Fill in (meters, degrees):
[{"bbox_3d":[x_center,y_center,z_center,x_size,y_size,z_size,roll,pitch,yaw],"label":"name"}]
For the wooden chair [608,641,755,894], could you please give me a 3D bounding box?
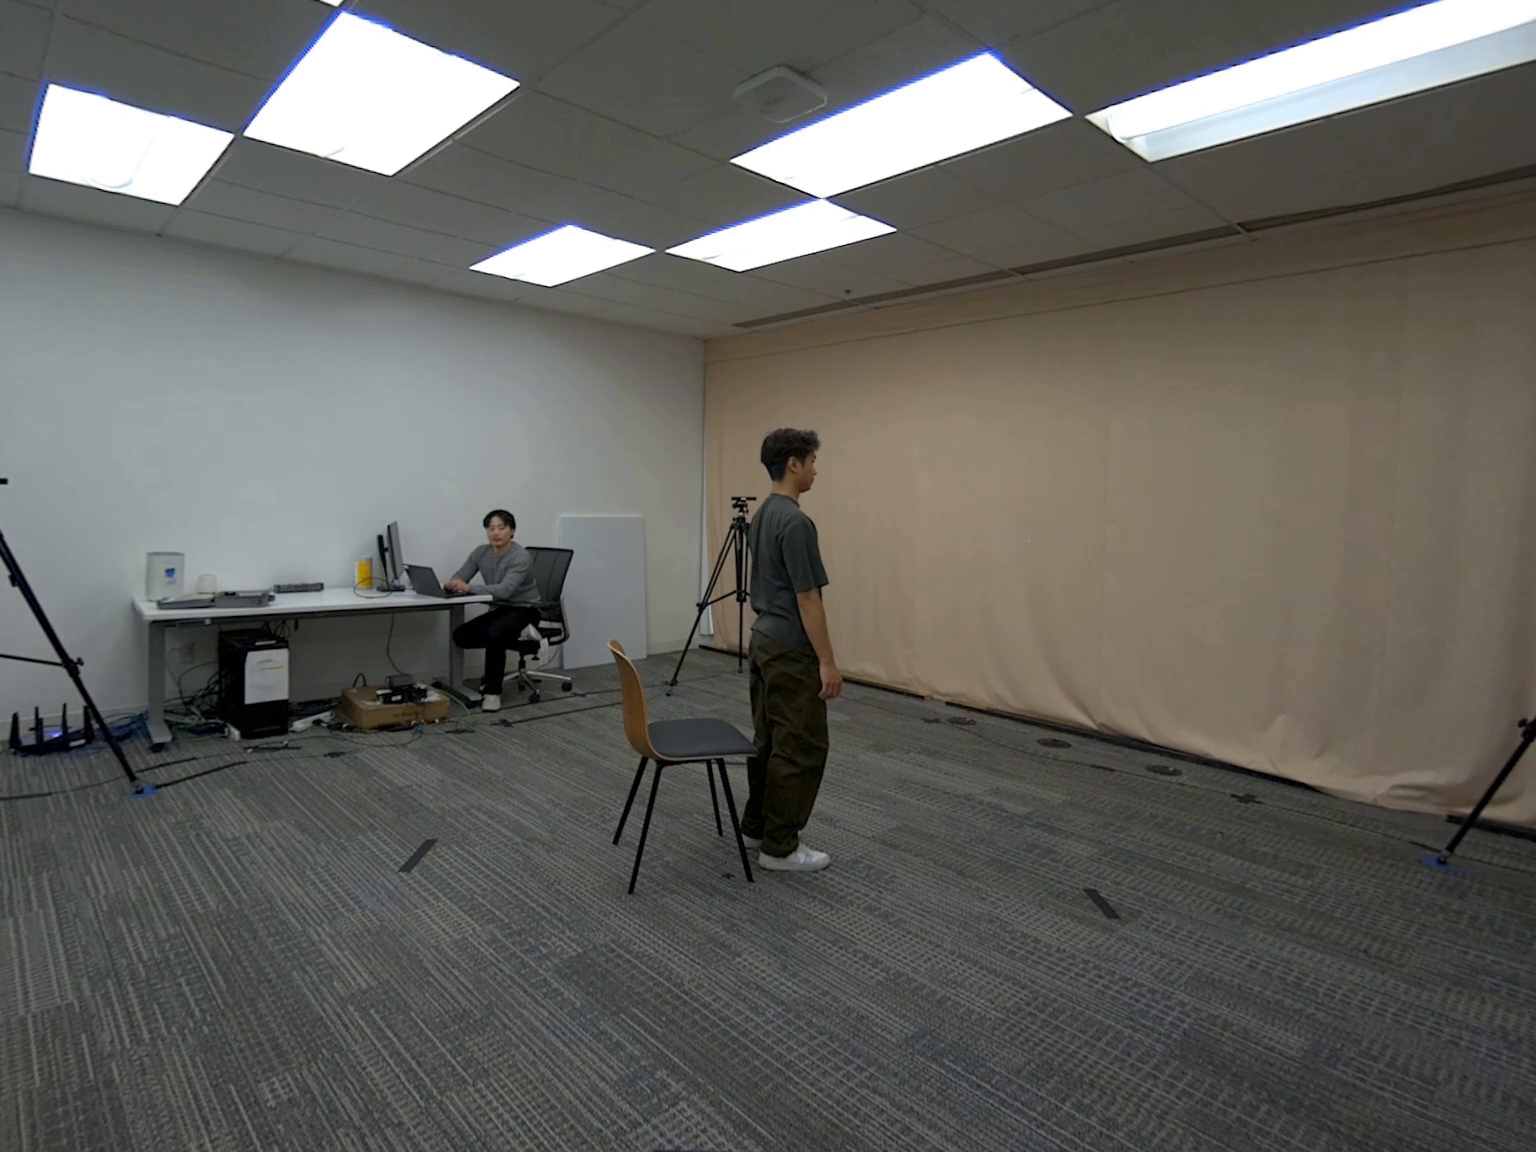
[{"bbox_3d":[-0.327,0.669,3.180,0.517,0.875,0.485,-3,4,-16],"label":"wooden chair"}]
